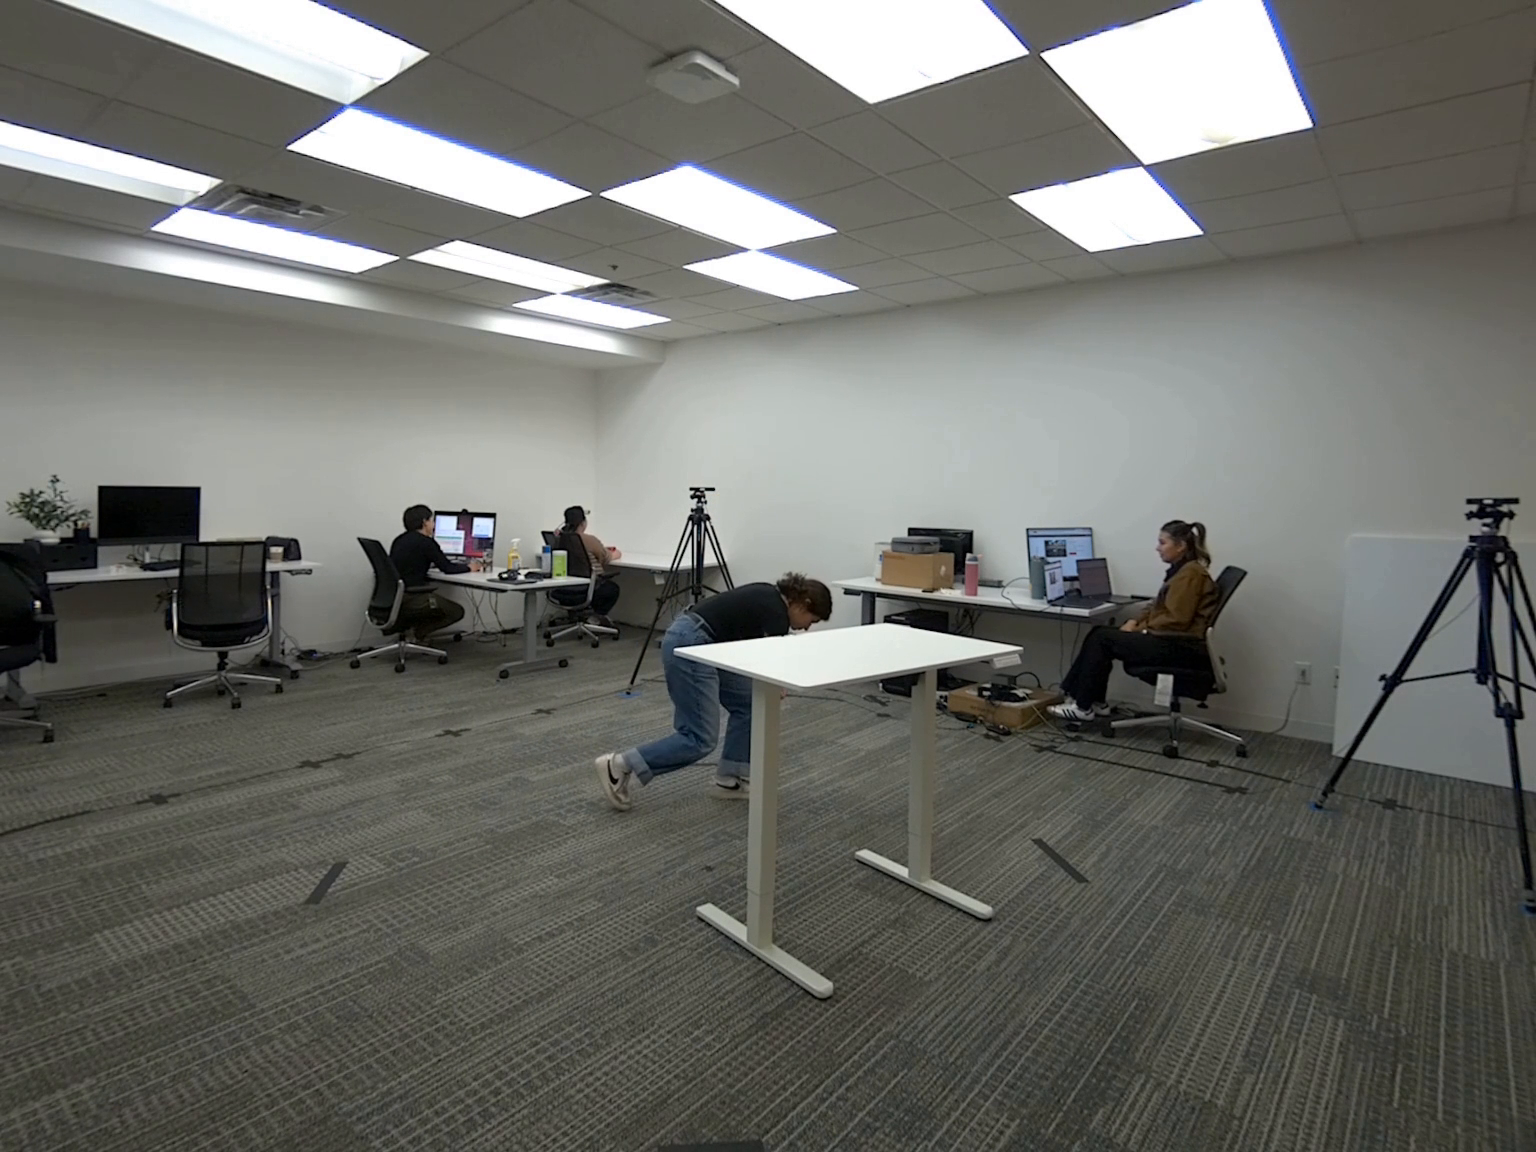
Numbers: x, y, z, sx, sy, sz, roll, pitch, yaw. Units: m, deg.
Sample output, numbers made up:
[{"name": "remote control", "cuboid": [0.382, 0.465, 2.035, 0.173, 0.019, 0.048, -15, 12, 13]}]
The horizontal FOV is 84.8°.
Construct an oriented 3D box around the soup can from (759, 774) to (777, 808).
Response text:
[{"name": "soup can", "cuboid": [-0.003, 0.948, 3.712, 0.067, 0.121, 0.067, 3, 3, -2]}]
